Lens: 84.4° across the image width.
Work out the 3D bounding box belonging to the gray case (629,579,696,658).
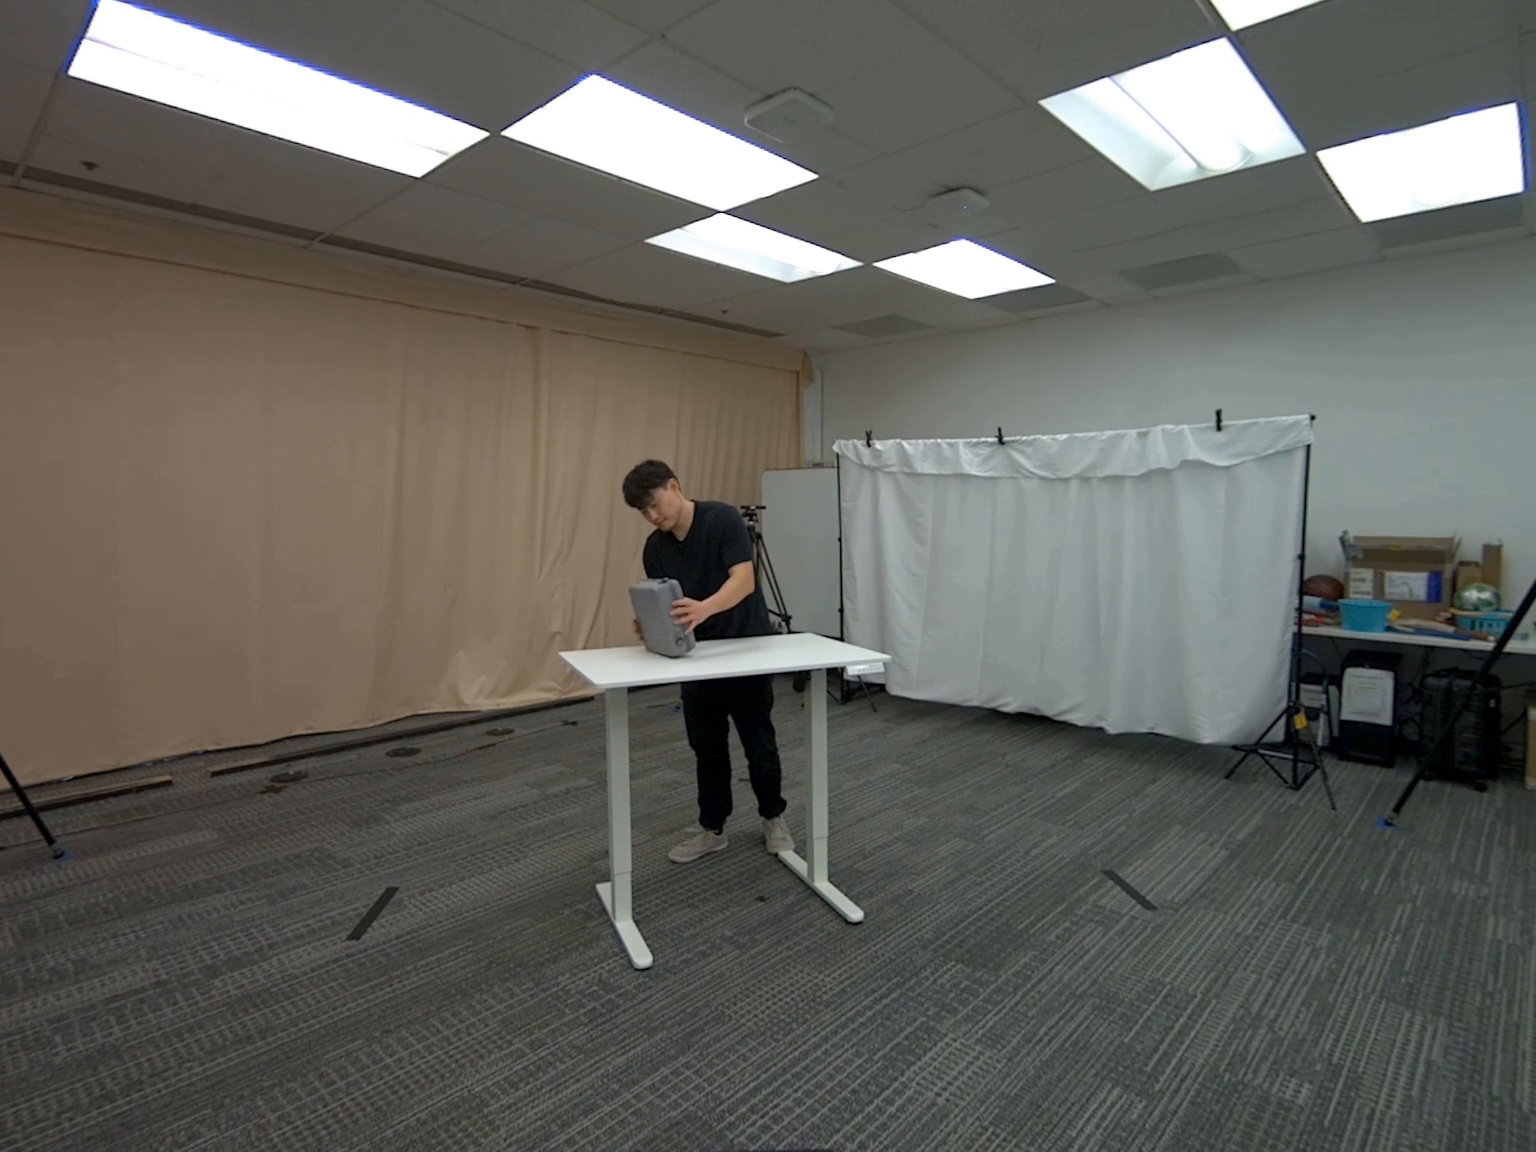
[{"bbox_3d":[-0.370,0.140,2.911,0.102,0.259,0.263,-15,7,-26],"label":"gray case"}]
